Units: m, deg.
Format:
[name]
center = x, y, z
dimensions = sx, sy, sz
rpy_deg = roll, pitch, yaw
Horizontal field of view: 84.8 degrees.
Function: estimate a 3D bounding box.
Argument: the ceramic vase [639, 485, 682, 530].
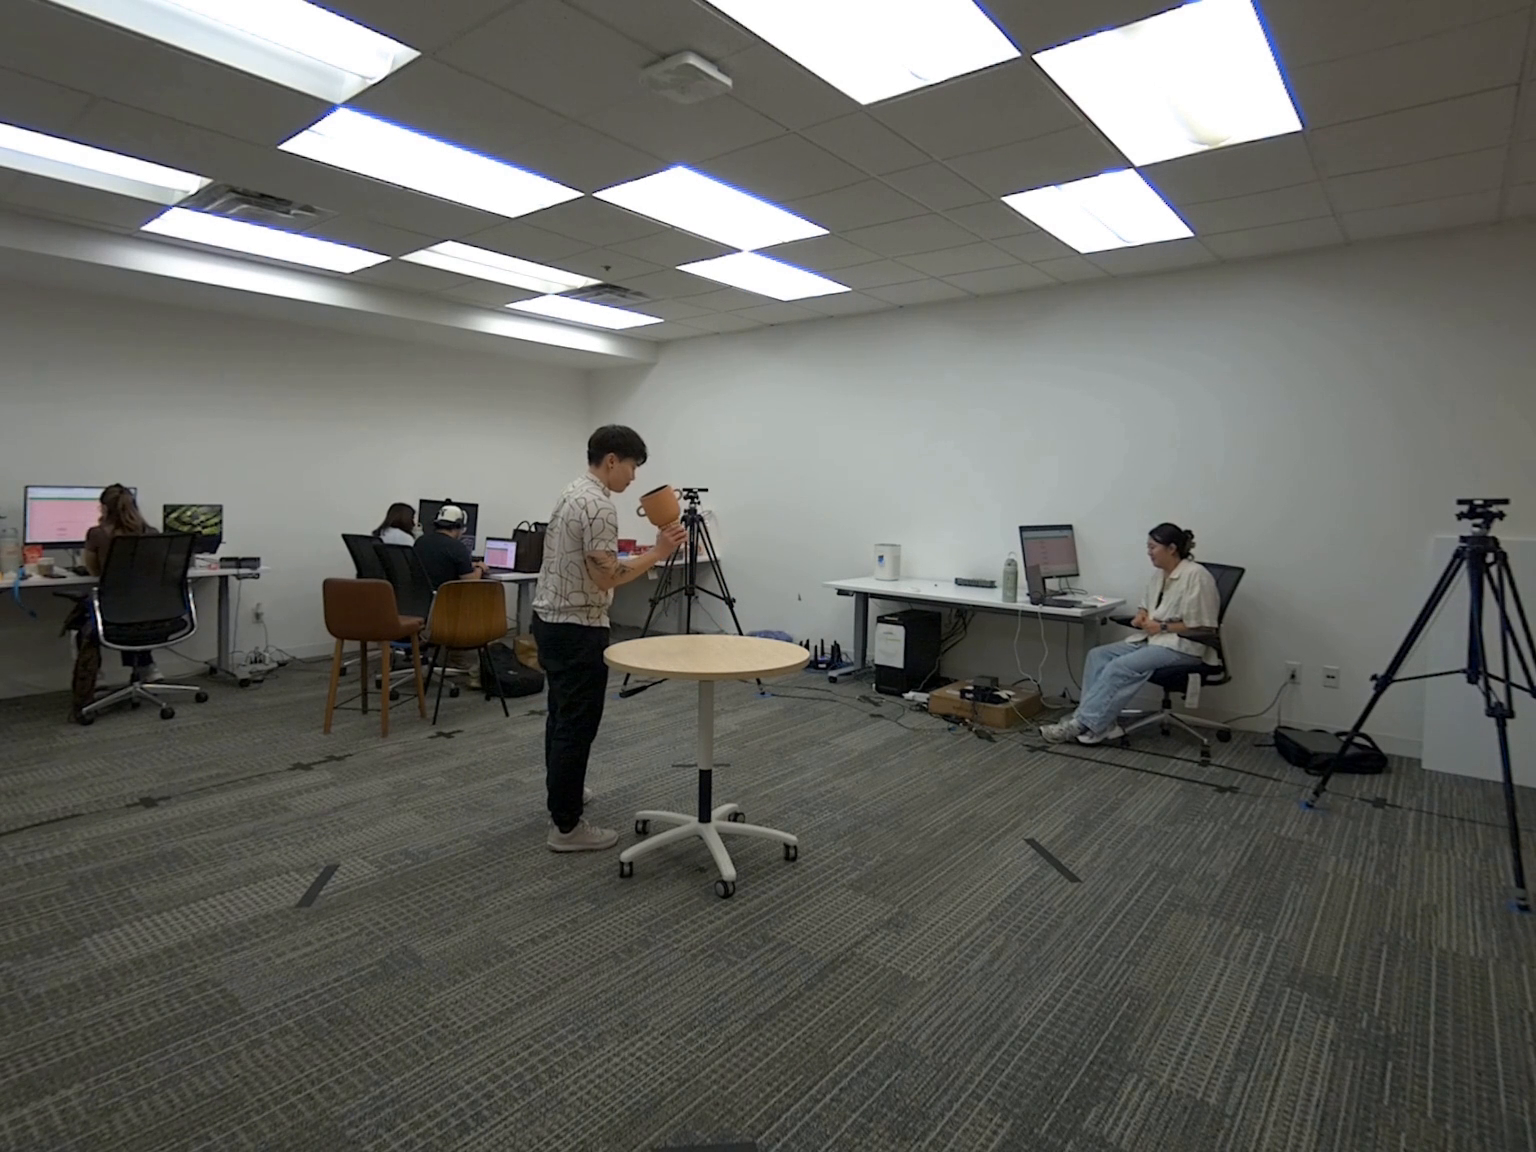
[ceramic vase]
center = -0.412, -0.233, 3.336
dimensions = 0.162, 0.216, 0.134
rpy_deg = -16, 15, 26
